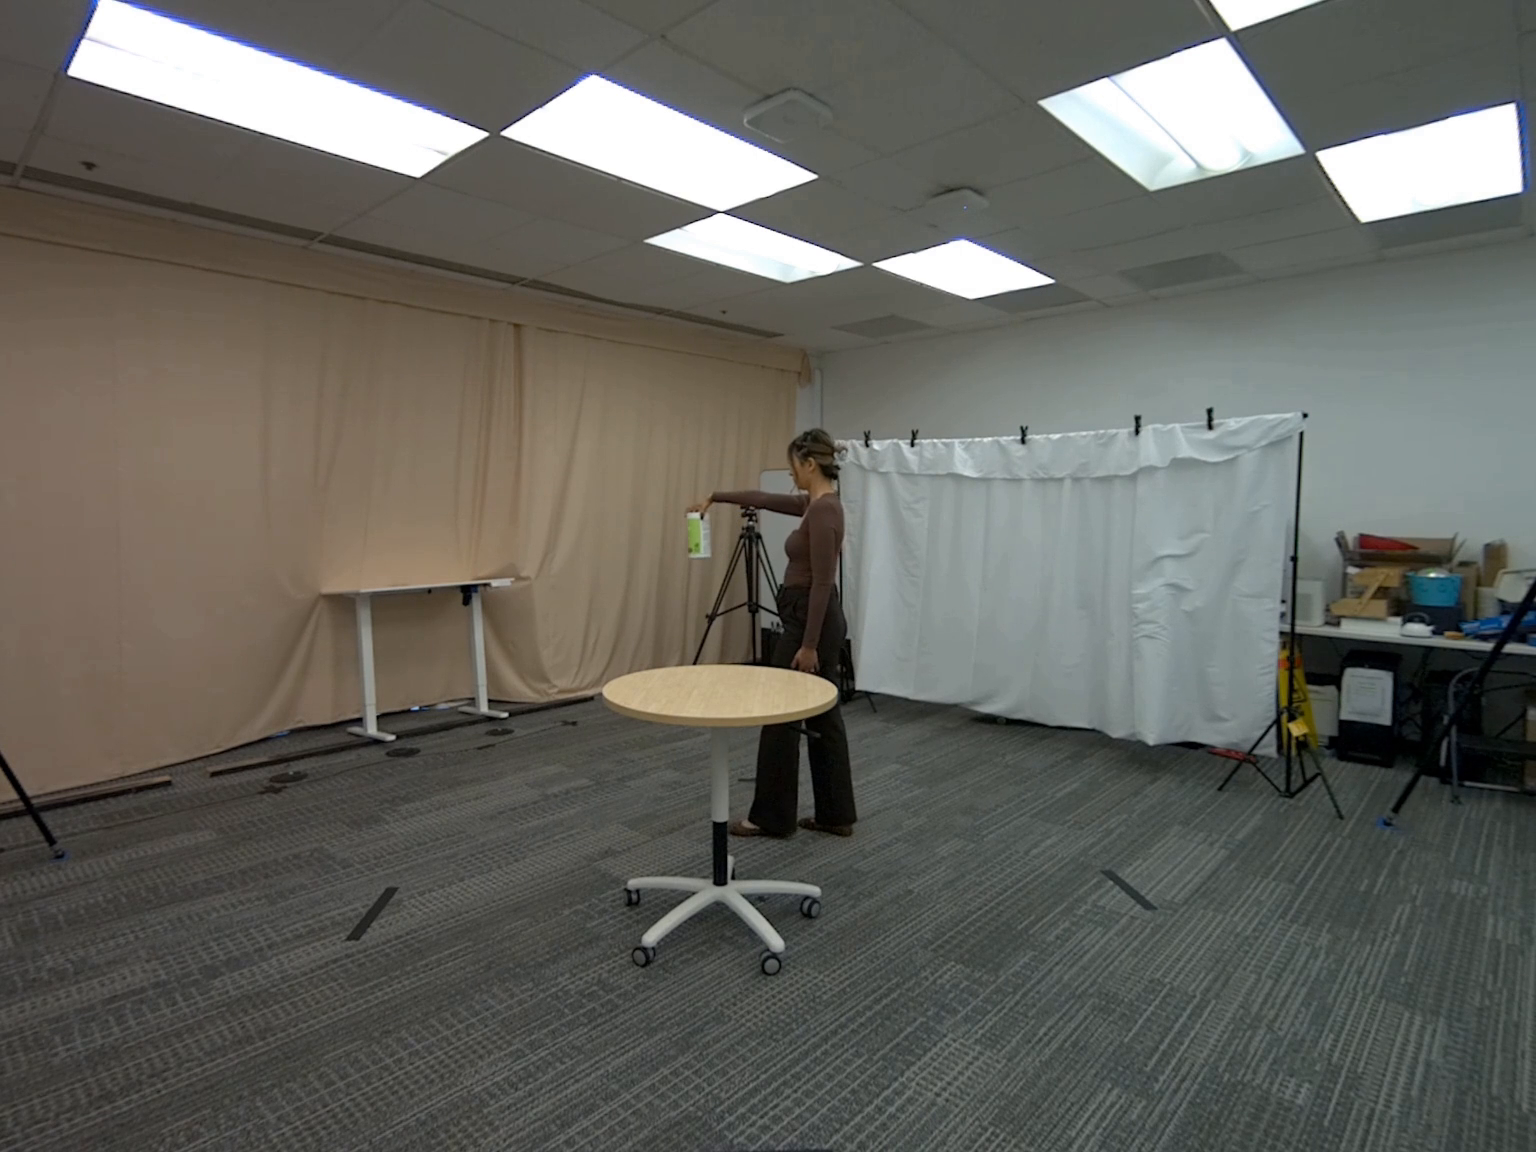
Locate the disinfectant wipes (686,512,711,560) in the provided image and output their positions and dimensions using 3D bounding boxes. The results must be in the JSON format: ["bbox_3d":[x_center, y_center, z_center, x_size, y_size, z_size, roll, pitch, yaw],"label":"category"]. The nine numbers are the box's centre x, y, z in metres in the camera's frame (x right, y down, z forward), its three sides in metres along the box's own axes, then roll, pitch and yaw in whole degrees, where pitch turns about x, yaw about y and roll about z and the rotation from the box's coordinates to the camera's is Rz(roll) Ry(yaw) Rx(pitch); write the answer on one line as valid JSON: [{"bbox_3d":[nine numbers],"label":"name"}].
[{"bbox_3d":[-0.329,-0.192,3.980,0.118,0.217,0.118,-1,1,-2],"label":"disinfectant wipes"}]
